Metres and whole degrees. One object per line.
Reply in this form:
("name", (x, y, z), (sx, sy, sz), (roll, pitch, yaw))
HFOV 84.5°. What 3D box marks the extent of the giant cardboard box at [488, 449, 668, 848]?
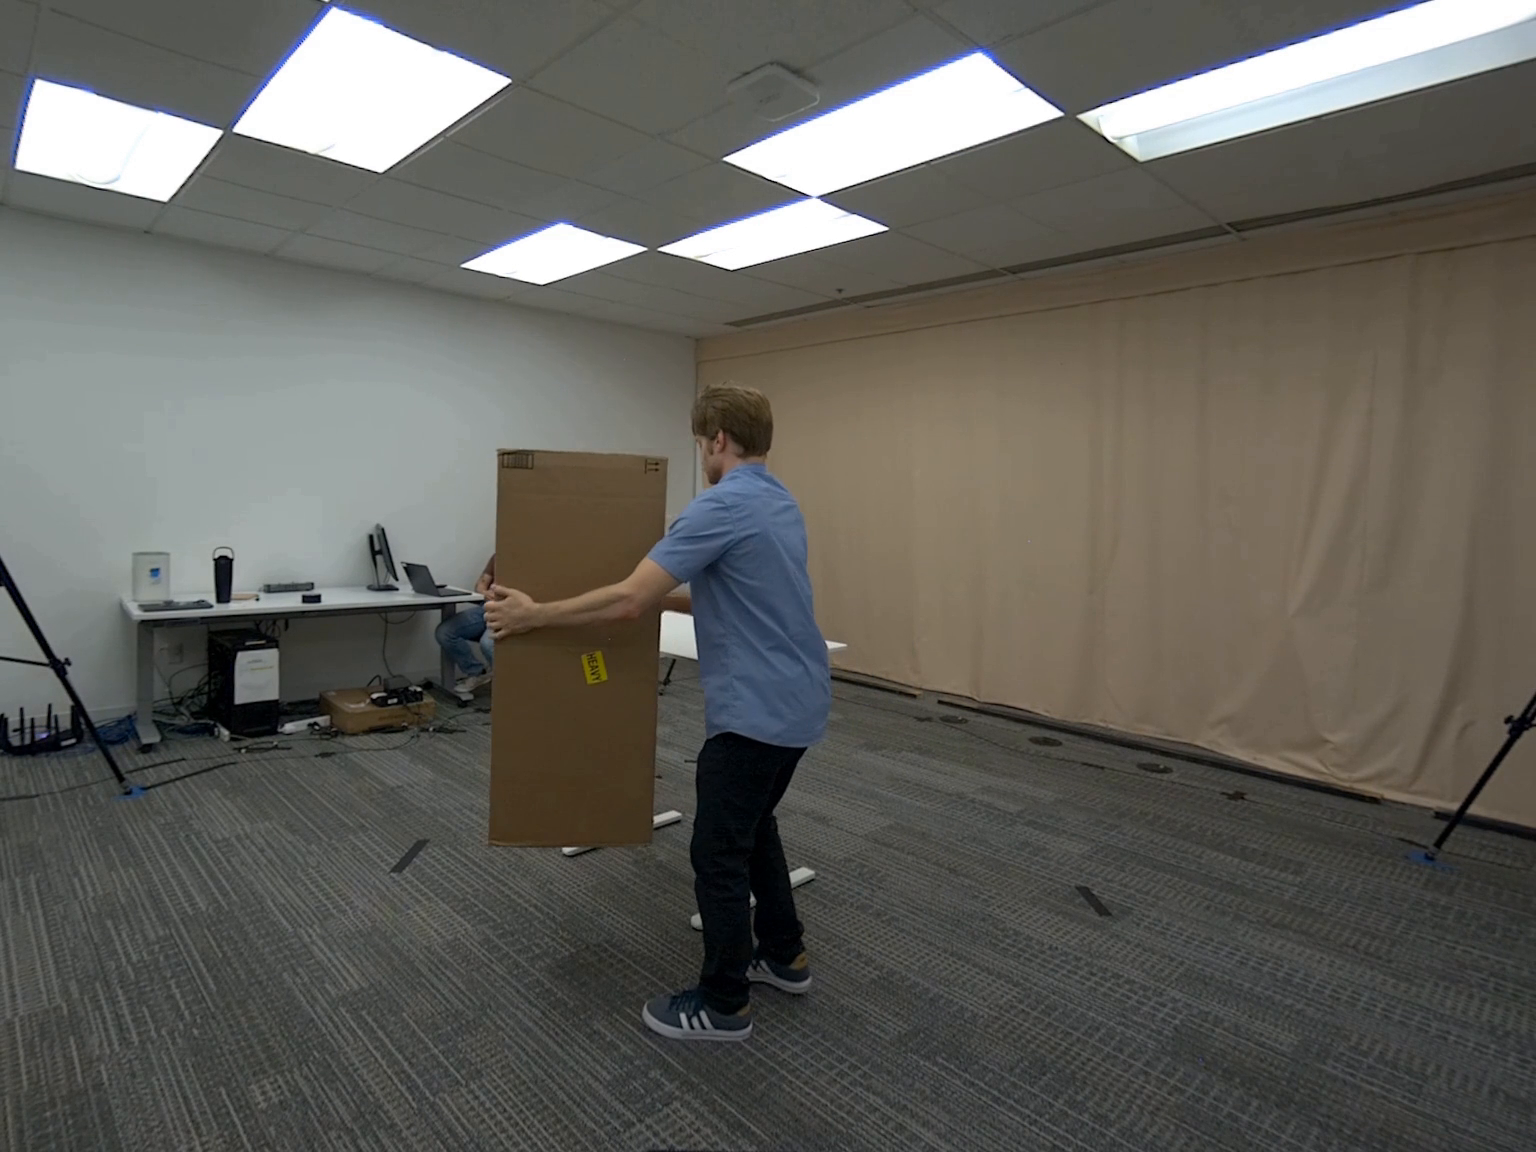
("giant cardboard box", (-0.538, 0.161, 2.411), (0.423, 1.022, 0.584), (2, 6, -9))
